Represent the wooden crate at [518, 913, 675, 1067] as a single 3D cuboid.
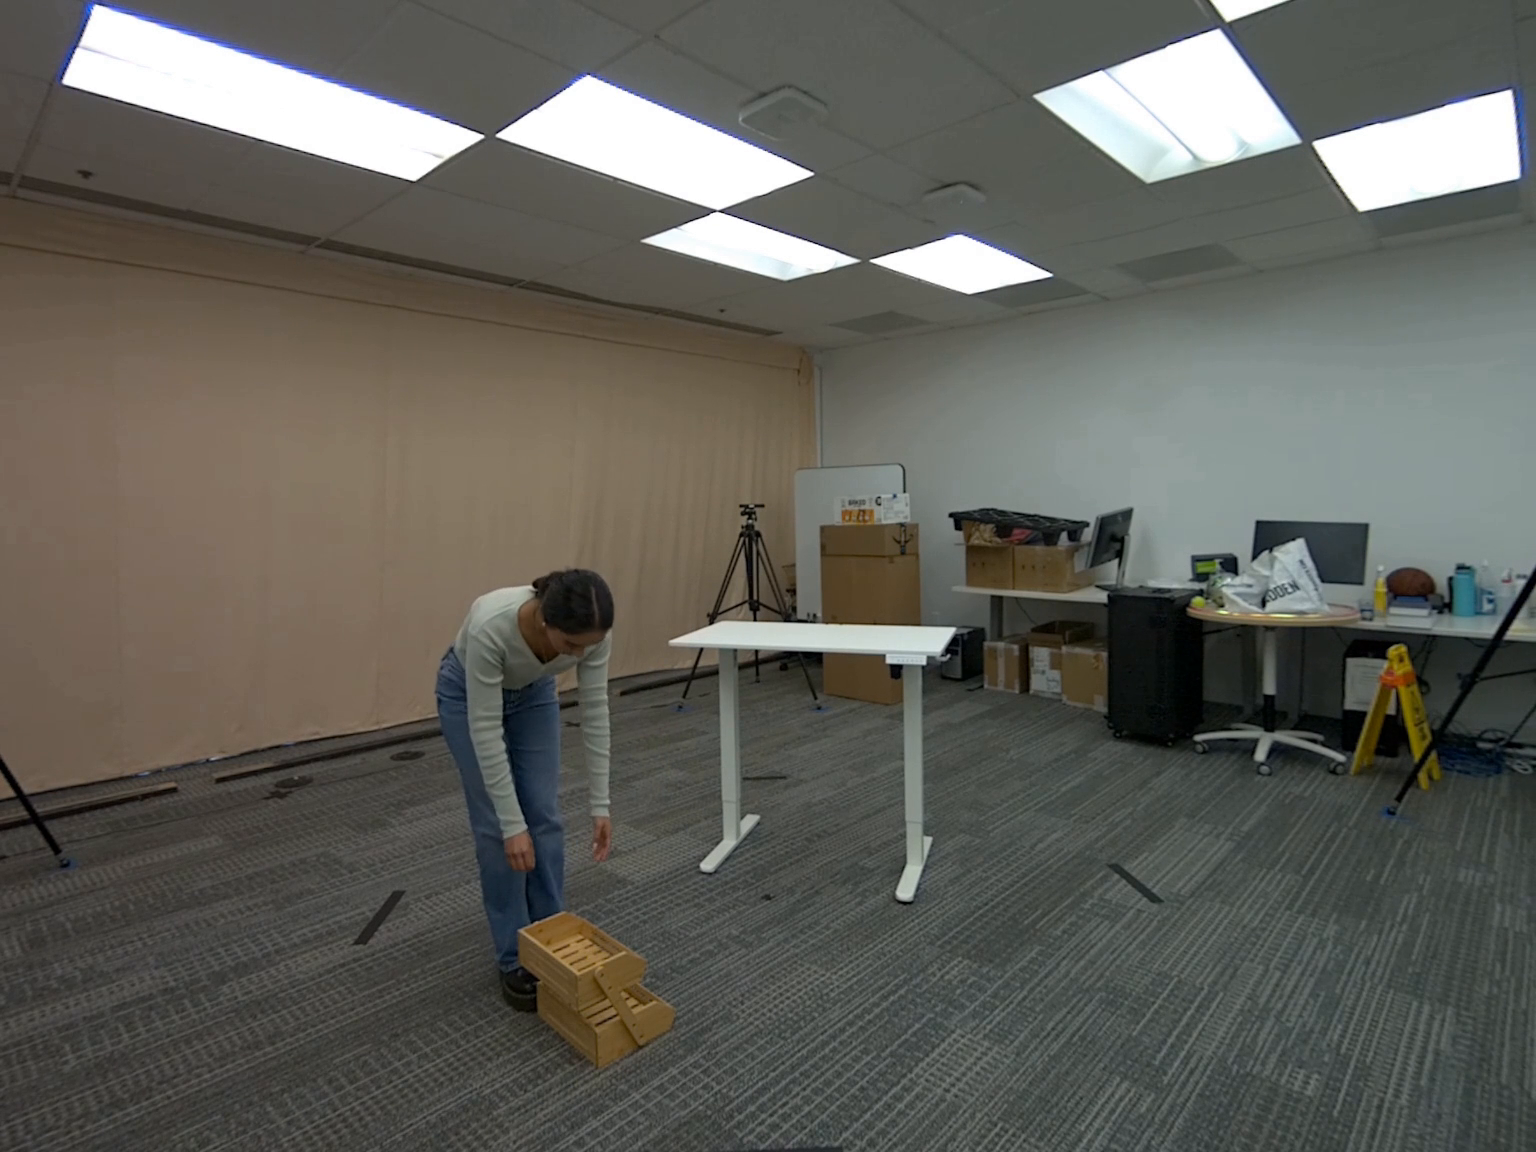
[{"bbox_3d":[-0.457,1.077,2.256,0.293,0.272,0.335,-6,6,-44],"label":"wooden crate"}]
